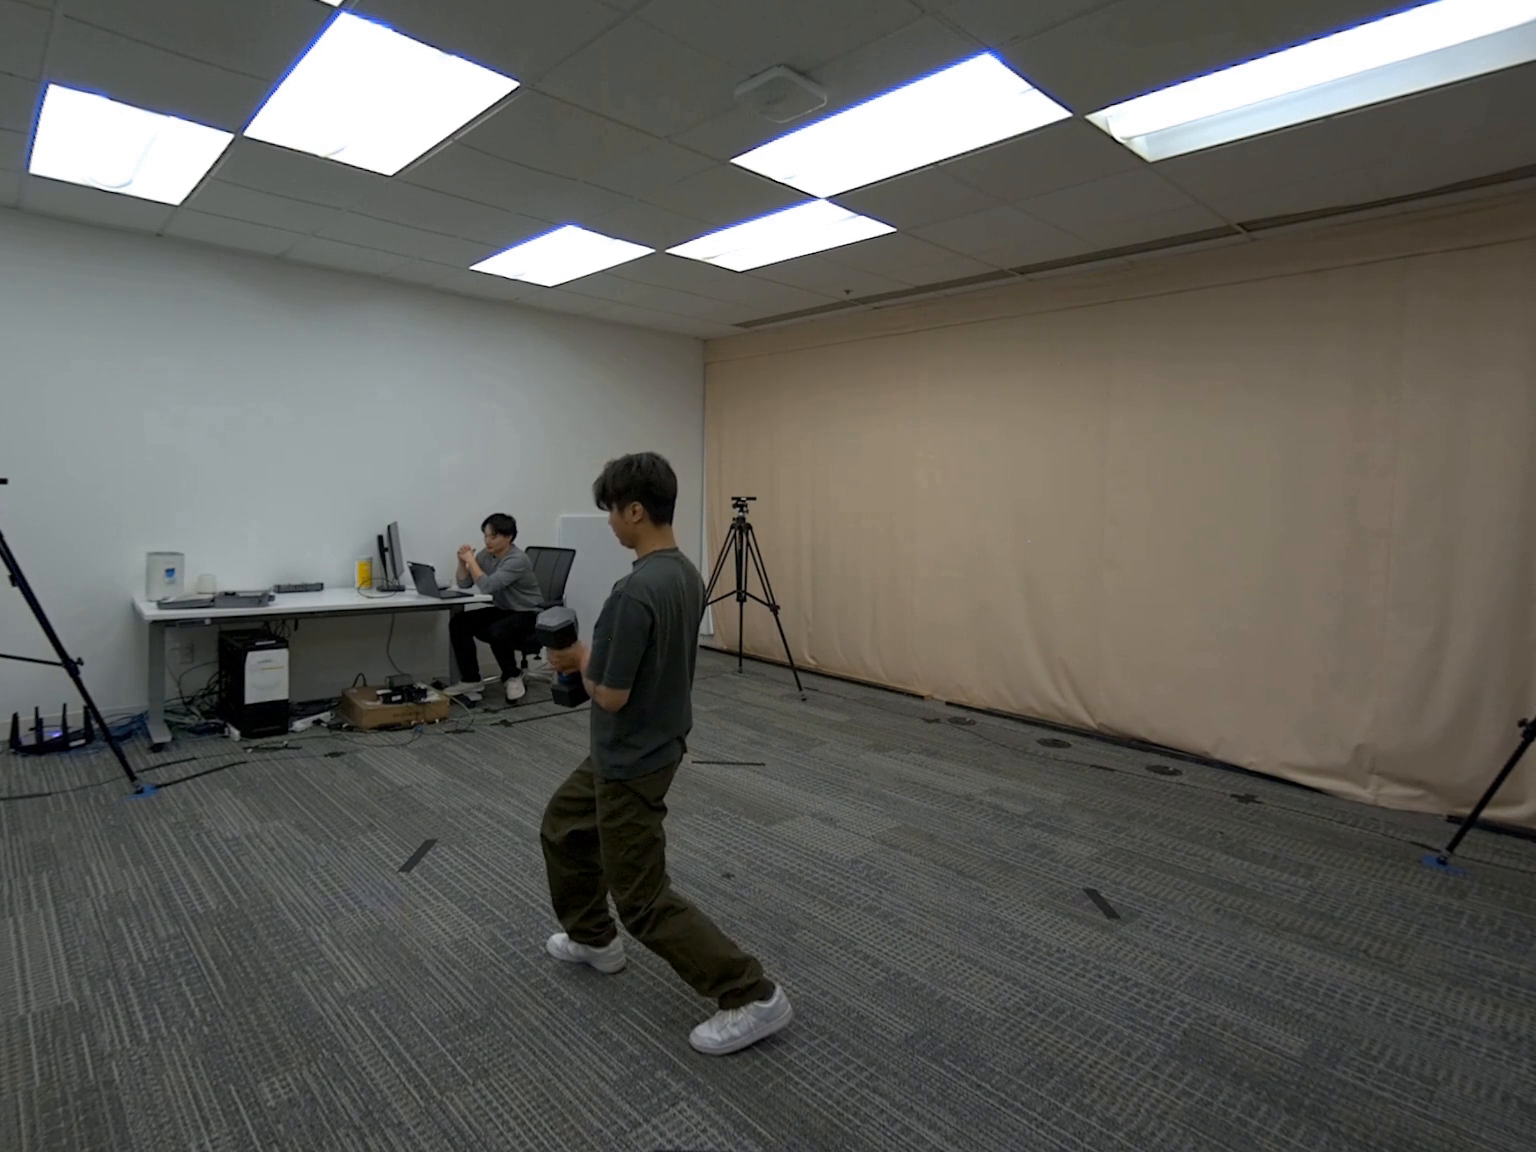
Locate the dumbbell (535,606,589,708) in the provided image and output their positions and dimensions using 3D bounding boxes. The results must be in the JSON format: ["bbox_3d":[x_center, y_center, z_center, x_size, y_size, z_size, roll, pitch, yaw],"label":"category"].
[{"bbox_3d":[-0.581,0.227,2.398,0.121,0.287,0.112,-25,35,-30],"label":"dumbbell"}]
